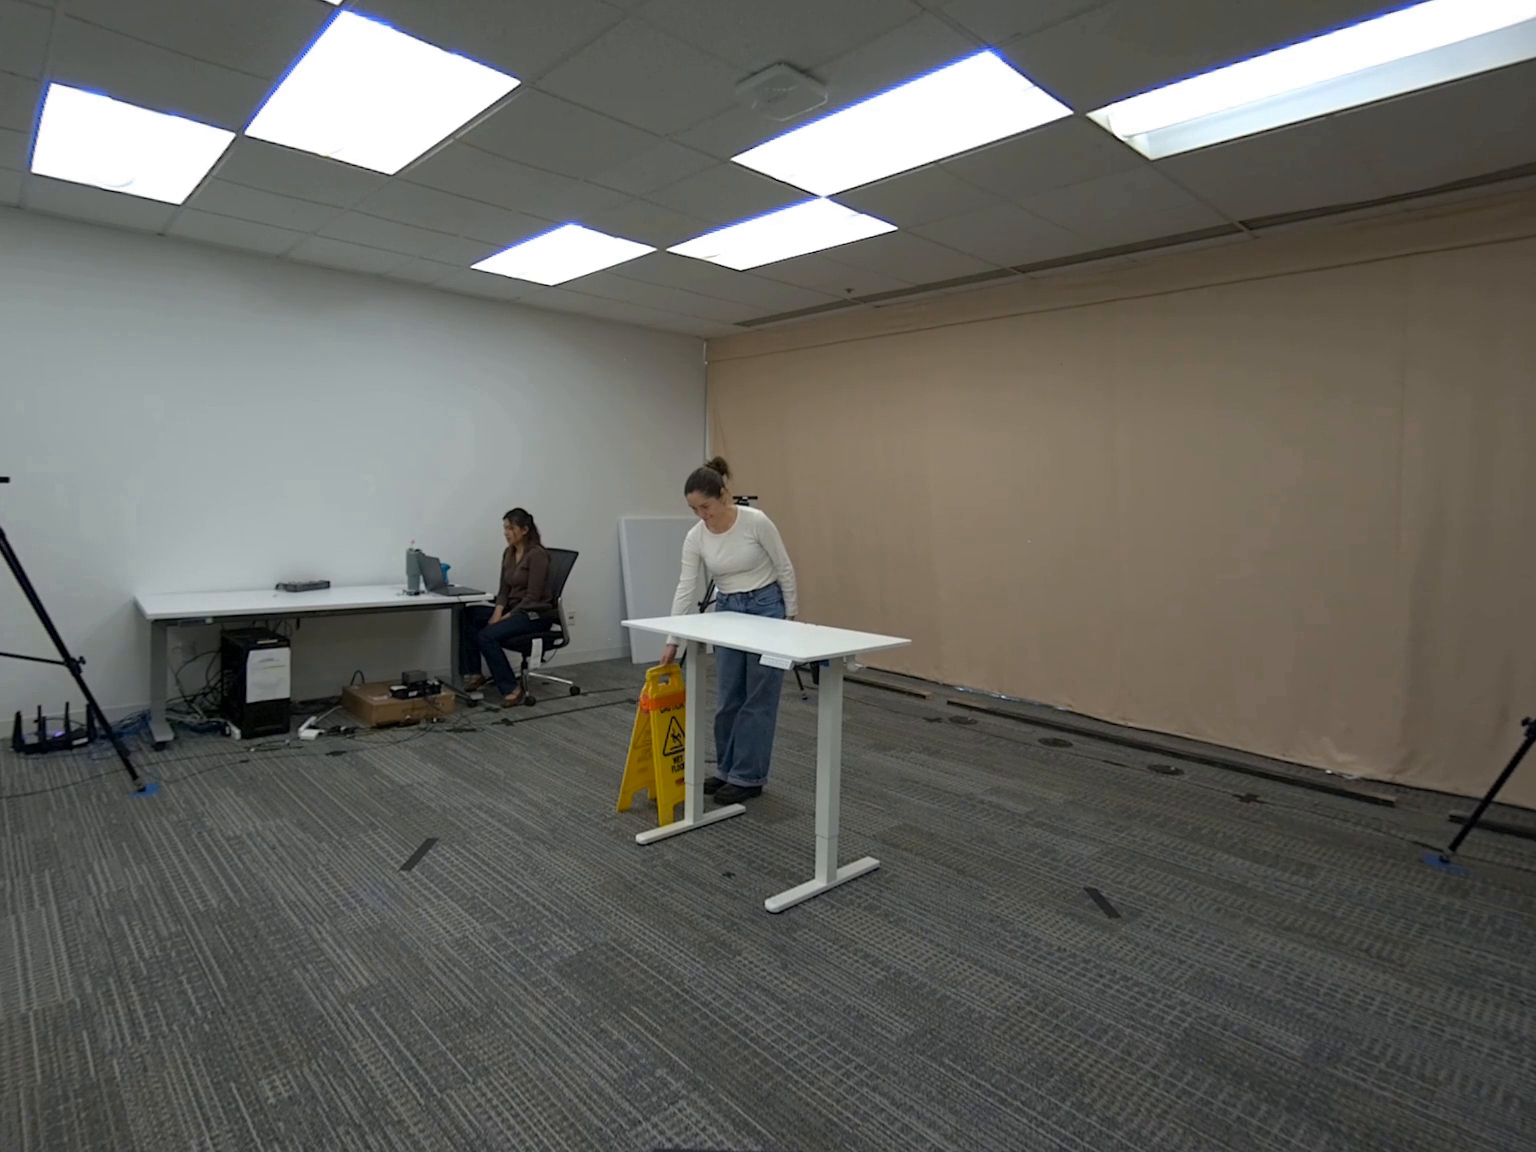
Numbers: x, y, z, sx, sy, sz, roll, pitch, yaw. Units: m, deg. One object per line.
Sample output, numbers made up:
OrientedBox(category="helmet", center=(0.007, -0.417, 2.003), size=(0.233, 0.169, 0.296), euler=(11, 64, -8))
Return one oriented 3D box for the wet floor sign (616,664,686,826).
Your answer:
OrientedBox(category="wet floor sign", center=(-0.477, 0.715, 3.711), size=(0.297, 0.645, 0.276), euler=(3, 3, 37))
